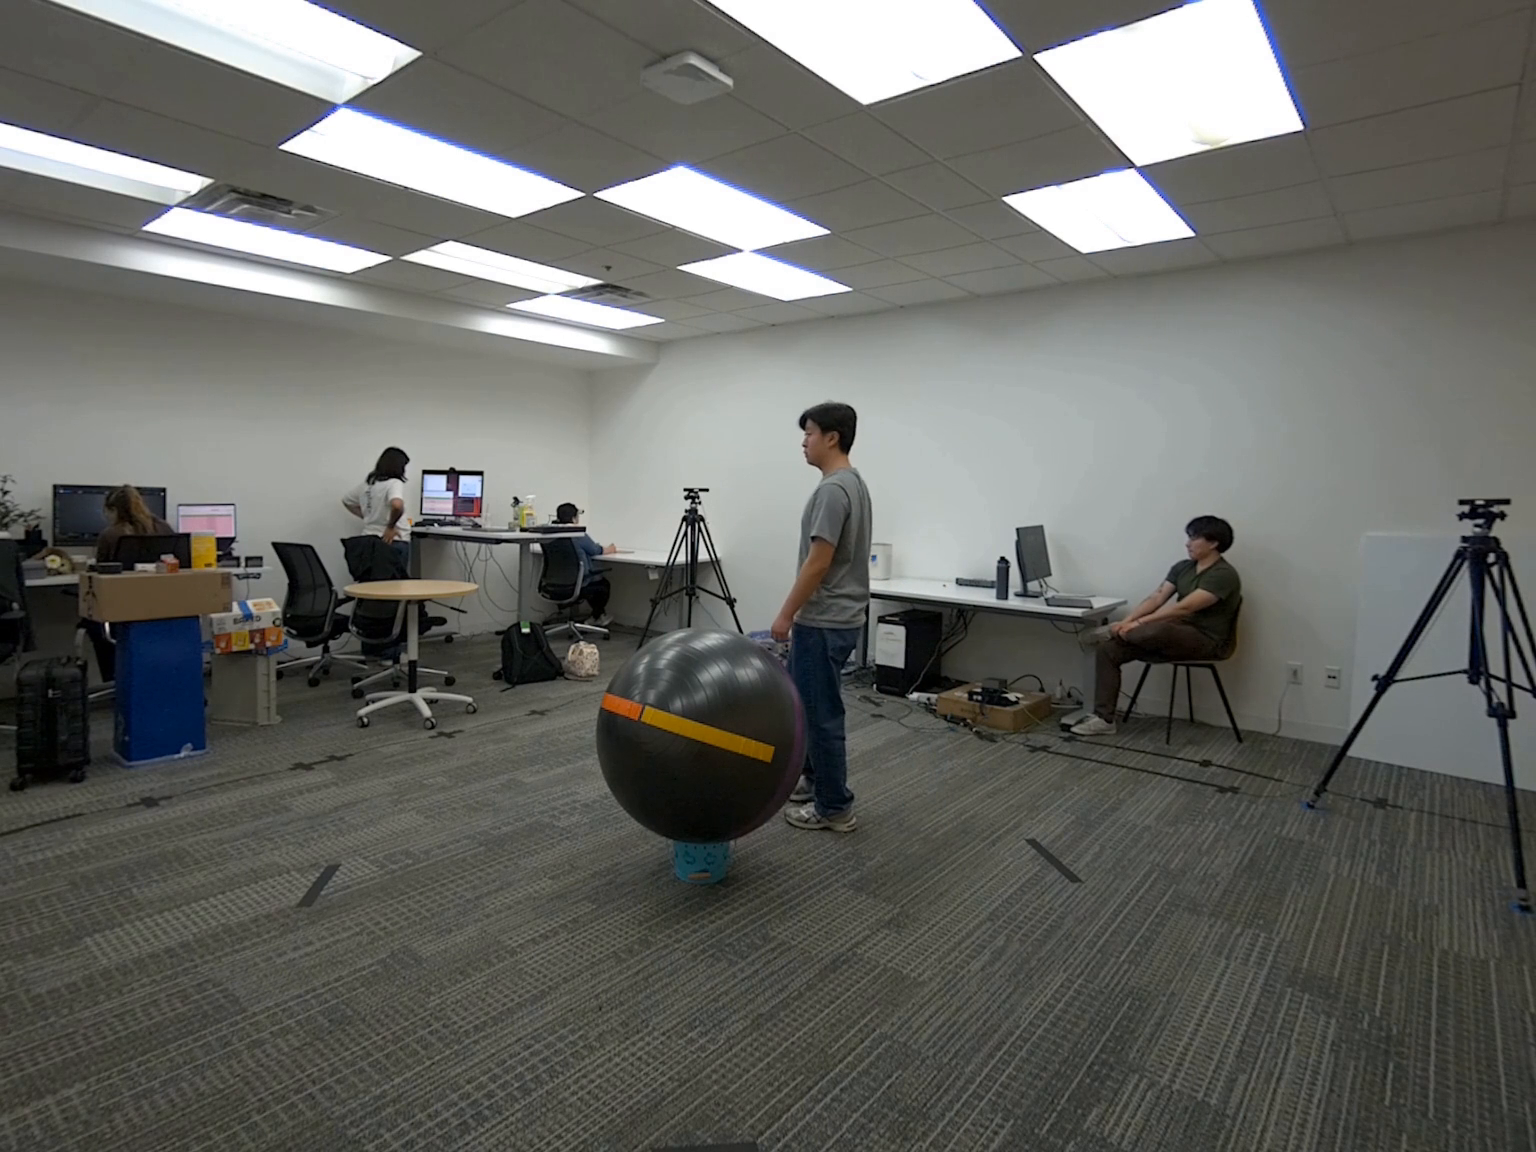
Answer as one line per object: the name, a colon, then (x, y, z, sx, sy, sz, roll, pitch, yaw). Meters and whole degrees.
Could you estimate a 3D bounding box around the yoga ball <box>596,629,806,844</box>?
yoga ball: (-0.248, 0.561, 3.060, 0.757, 0.755, 0.762, 1, 4, -2)
